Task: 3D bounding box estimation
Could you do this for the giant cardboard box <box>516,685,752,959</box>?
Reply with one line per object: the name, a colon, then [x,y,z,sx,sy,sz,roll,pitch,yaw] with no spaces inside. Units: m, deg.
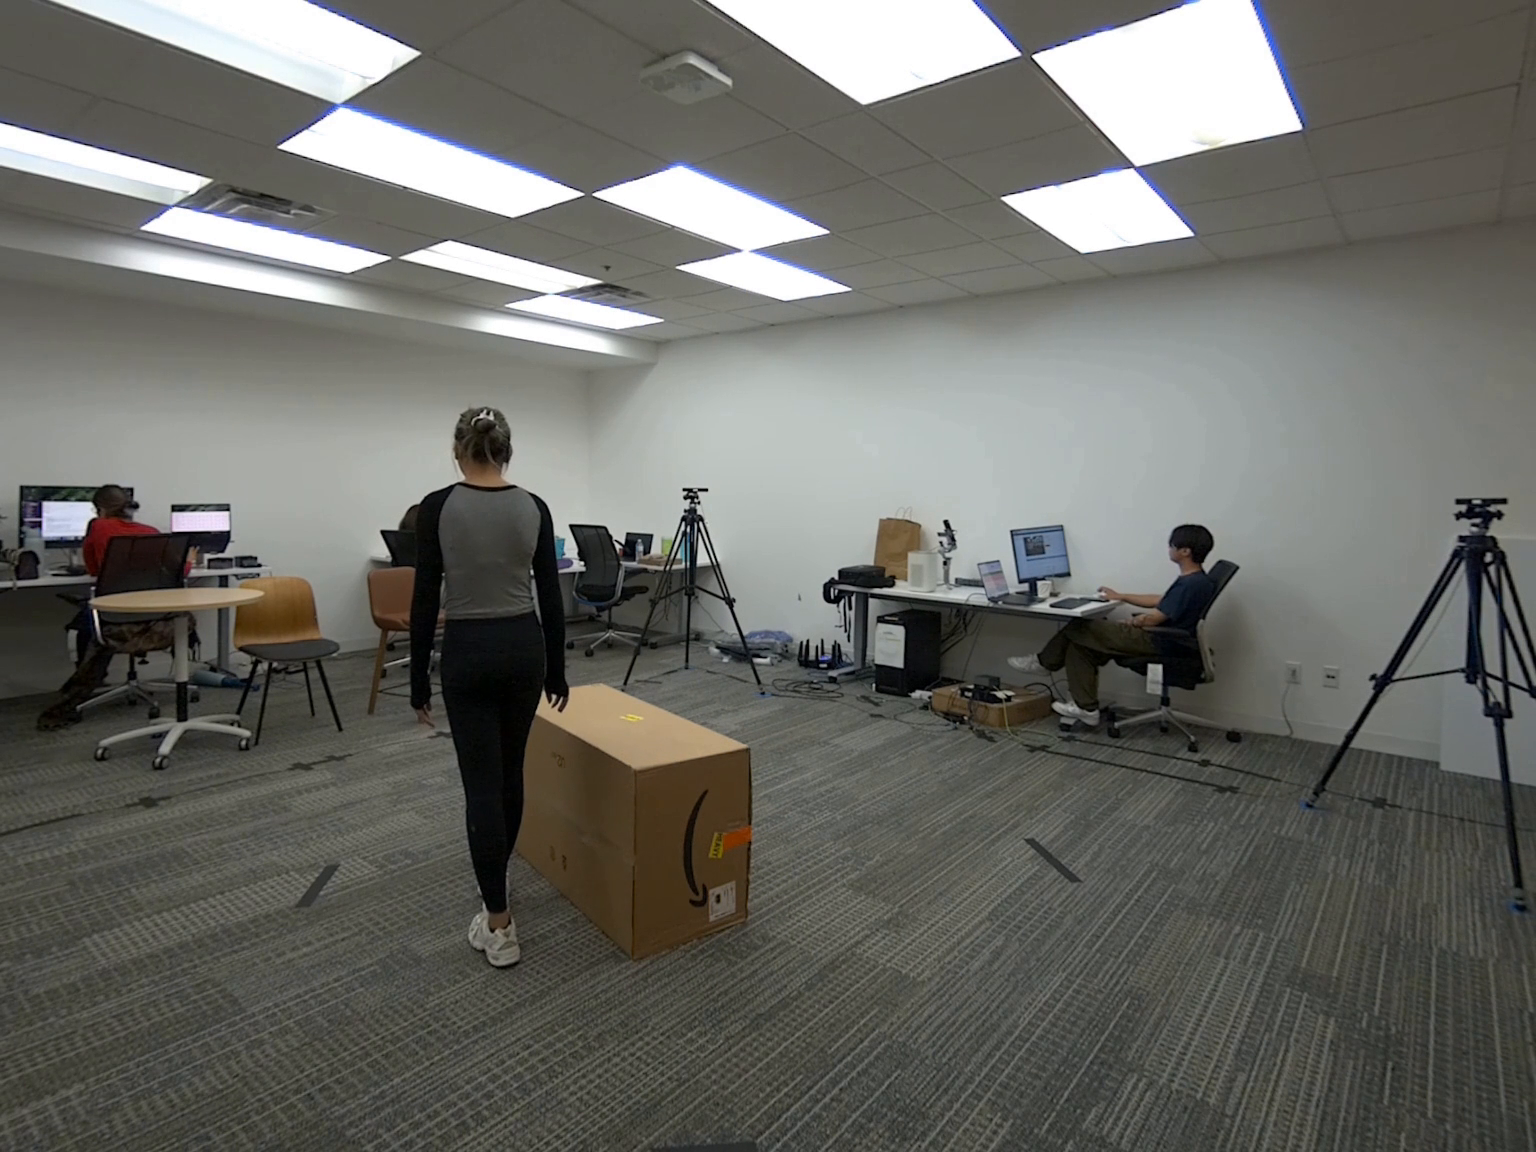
giant cardboard box: [-0.546,0.786,3.011,0.414,0.575,1.060,-2,6,-37]
